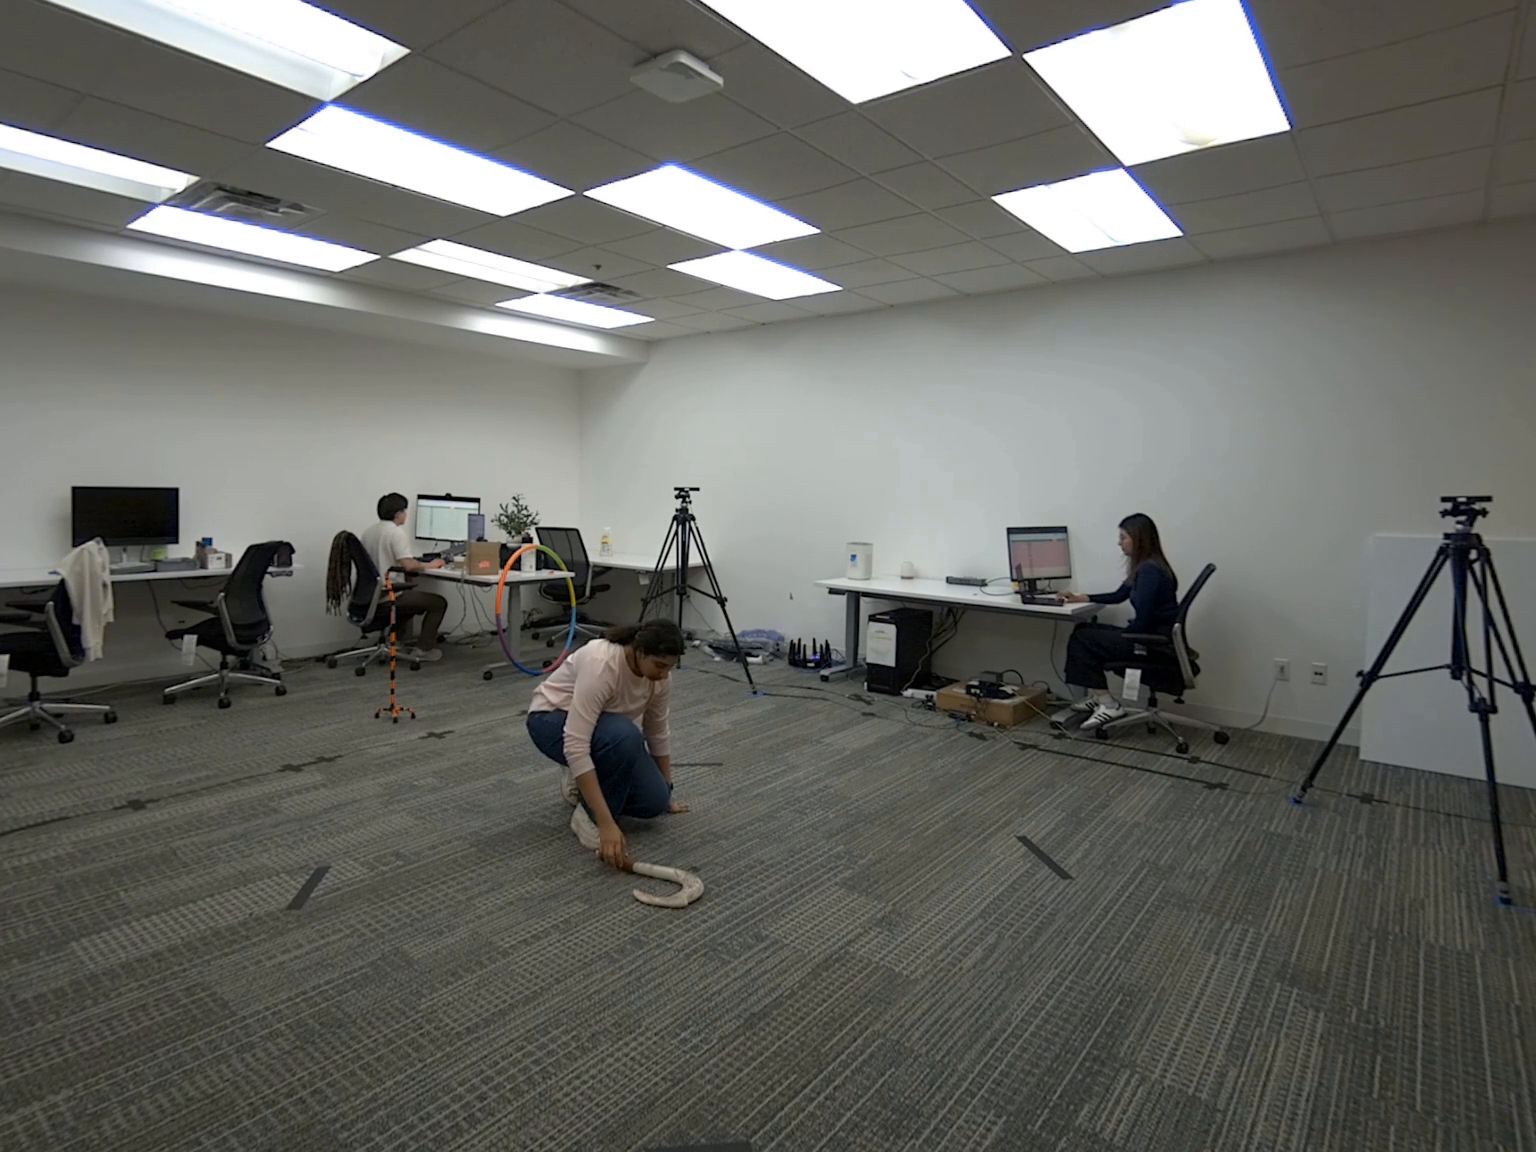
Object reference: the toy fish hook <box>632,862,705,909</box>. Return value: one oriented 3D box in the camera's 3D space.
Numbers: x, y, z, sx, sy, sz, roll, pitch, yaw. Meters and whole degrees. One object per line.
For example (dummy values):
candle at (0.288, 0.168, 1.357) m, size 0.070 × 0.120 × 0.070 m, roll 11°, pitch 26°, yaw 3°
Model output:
toy fish hook at (-0.466, 1.050, 2.987) m, size 0.523 × 0.048 × 0.218 m, roll 4°, pitch 5°, yaw 36°
